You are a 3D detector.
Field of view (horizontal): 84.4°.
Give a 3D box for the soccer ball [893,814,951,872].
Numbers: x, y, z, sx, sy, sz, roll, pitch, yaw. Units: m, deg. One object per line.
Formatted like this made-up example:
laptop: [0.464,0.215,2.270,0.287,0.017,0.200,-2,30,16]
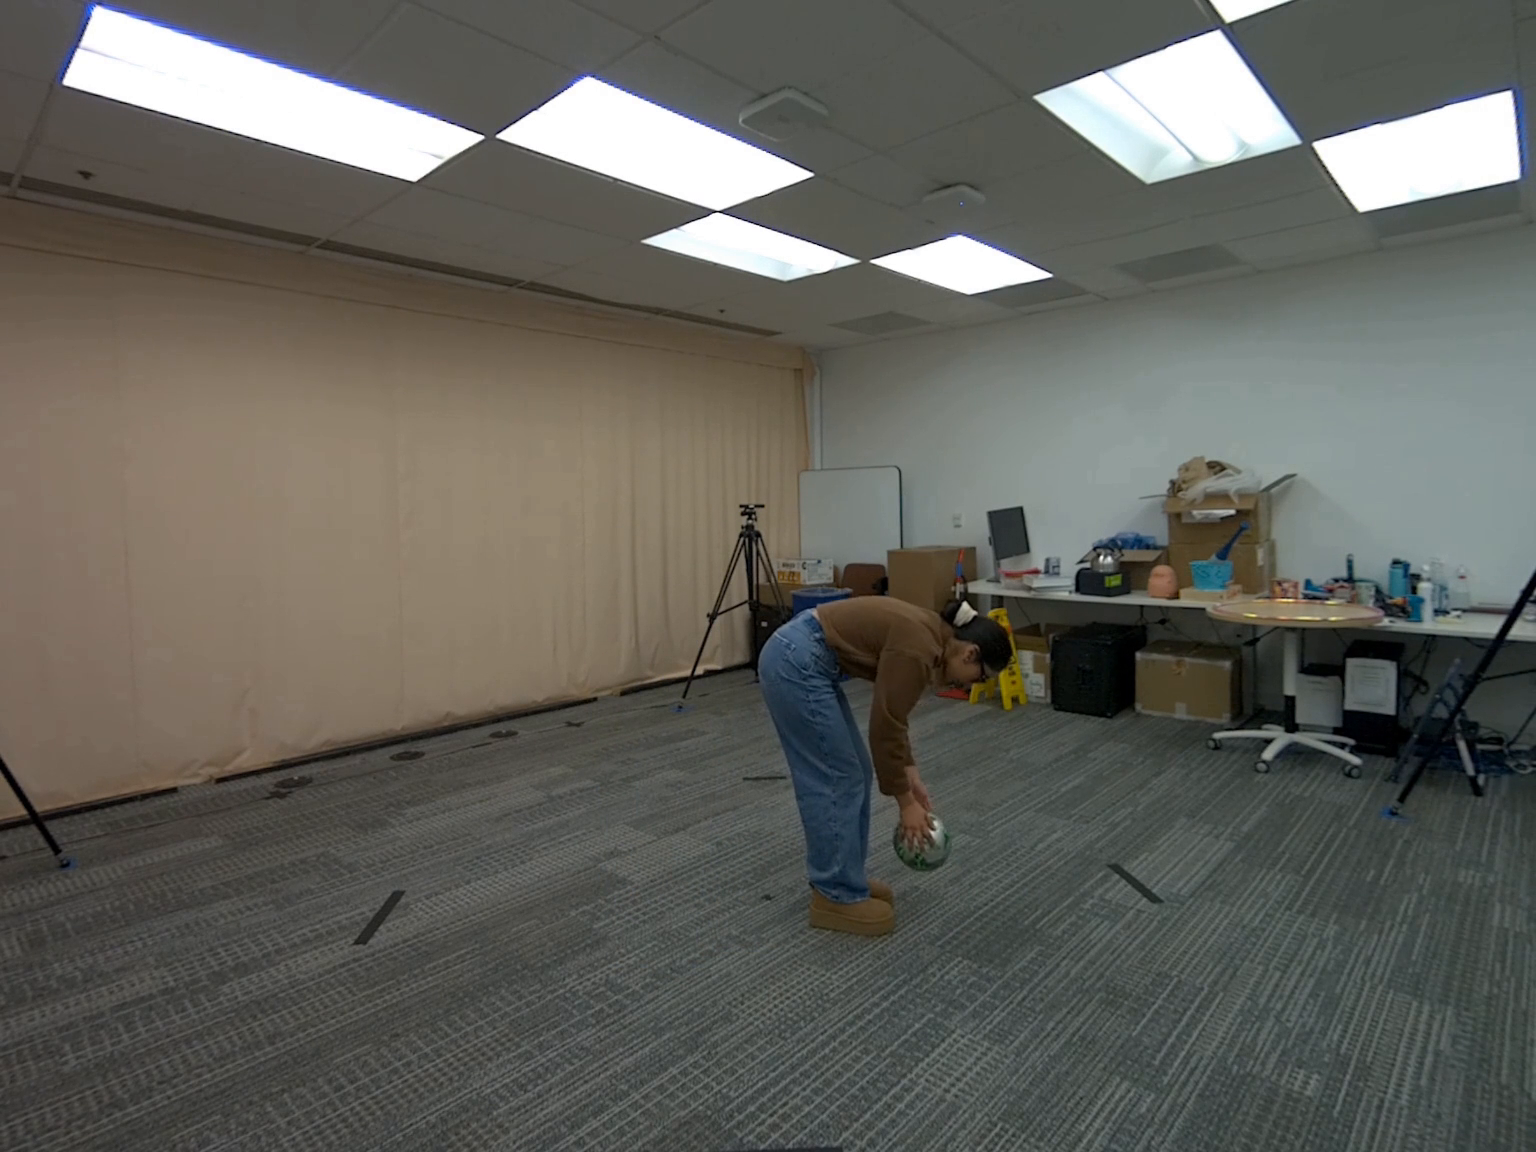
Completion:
soccer ball: [0.507,0.859,2.728,0.187,0.187,0.188,-1,4,-2]
